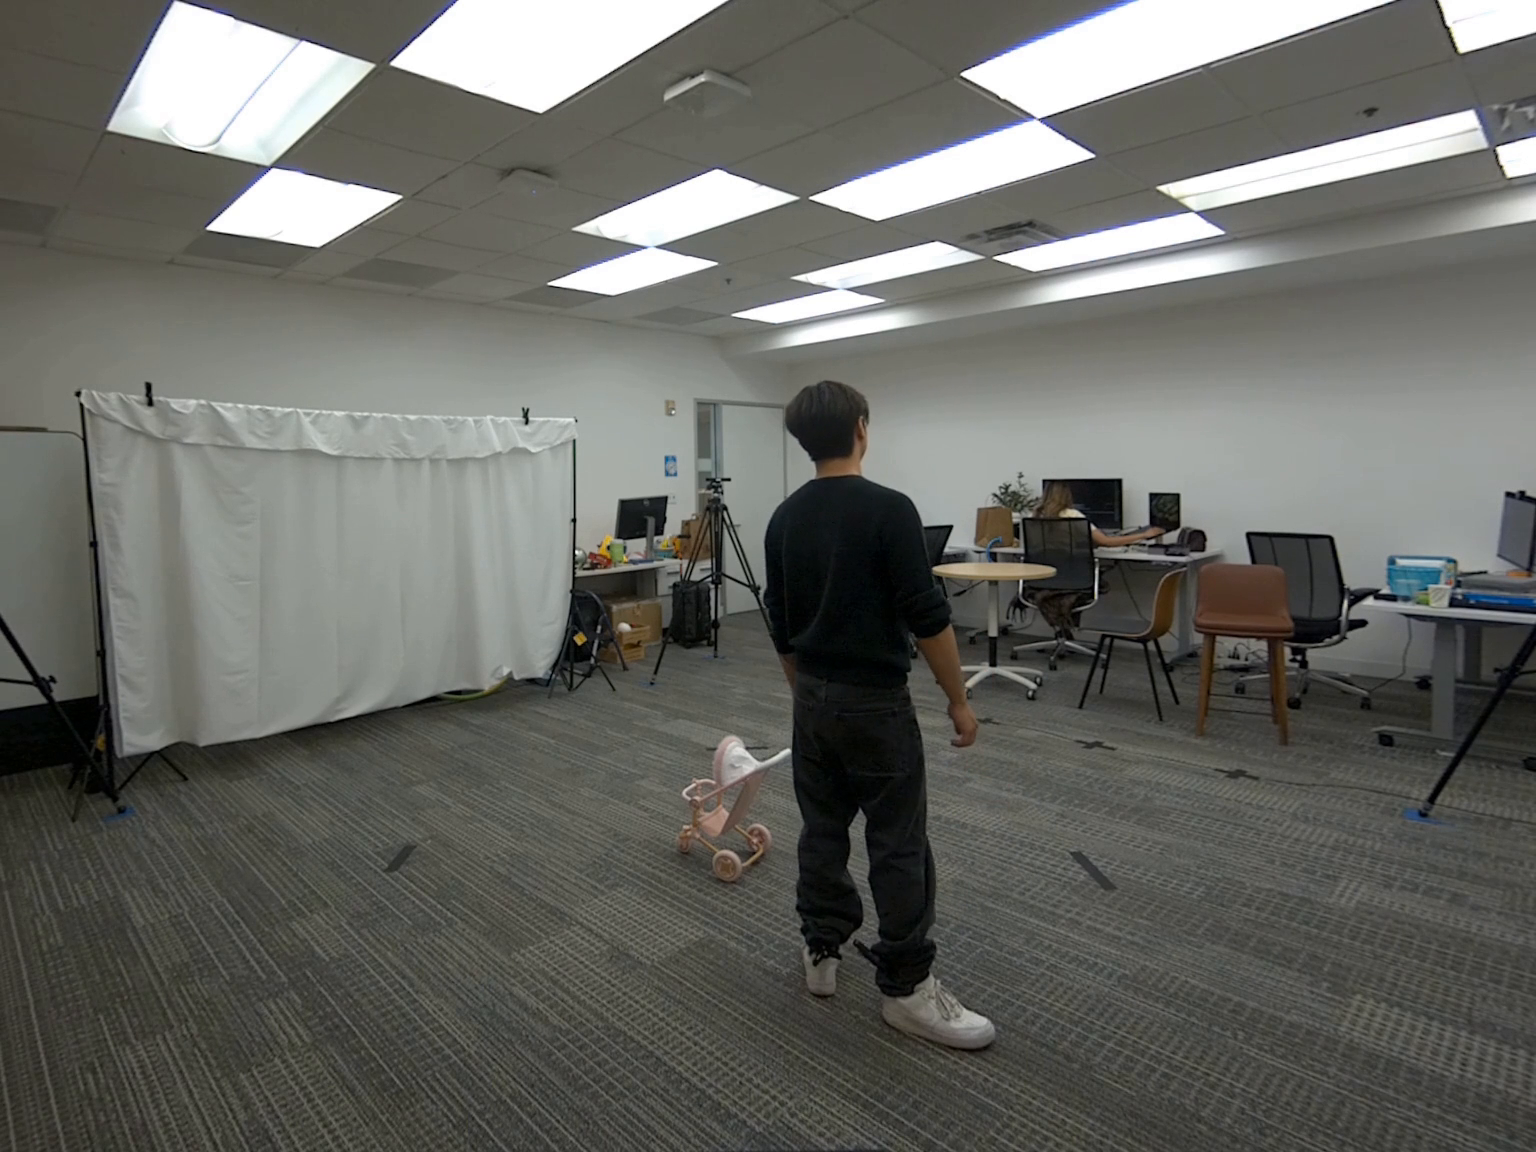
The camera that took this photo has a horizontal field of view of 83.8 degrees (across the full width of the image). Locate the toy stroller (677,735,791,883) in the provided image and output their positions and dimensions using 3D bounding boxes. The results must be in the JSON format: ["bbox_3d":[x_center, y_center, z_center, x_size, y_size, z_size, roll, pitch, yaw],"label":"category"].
[{"bbox_3d":[-0.147,0.819,3.097,0.352,0.530,0.275,20,14,29],"label":"toy stroller"}]
